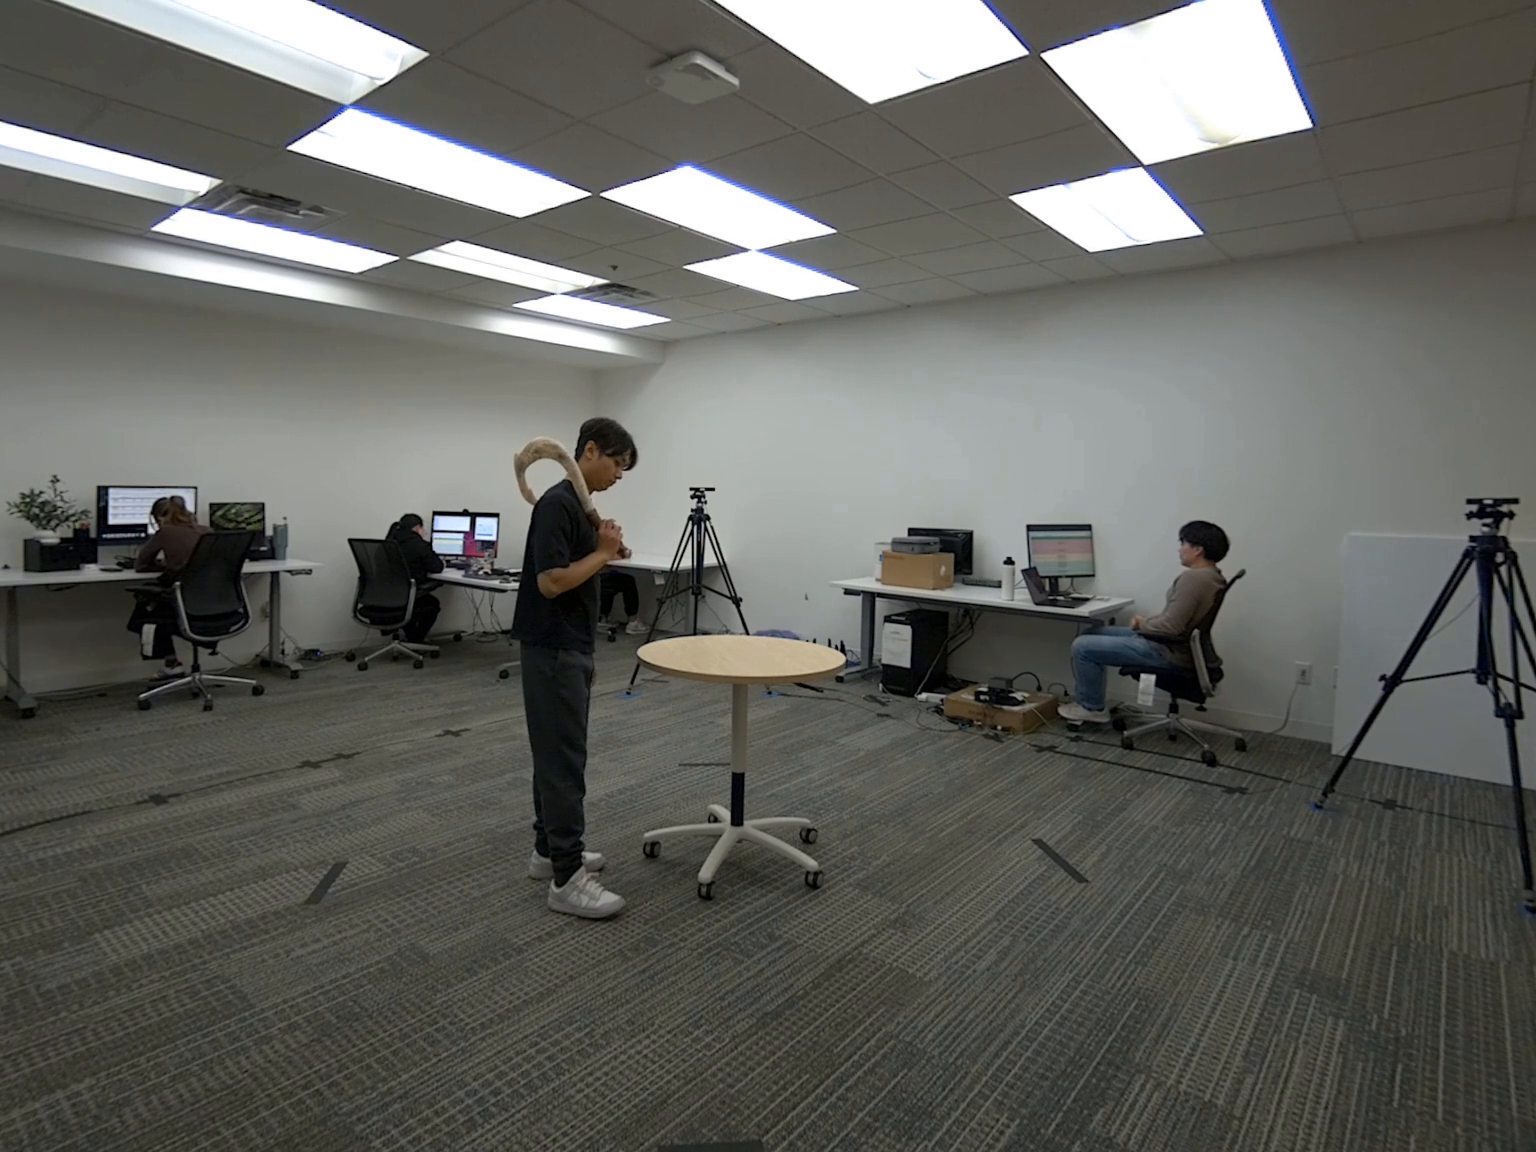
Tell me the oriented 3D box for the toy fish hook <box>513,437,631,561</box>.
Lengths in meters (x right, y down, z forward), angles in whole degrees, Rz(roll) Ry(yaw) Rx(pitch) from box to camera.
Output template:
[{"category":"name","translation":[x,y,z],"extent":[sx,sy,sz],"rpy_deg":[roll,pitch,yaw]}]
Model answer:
[{"category":"toy fish hook","translation":[-0.688,-0.243,2.904],"extent":[0.225,0.501,0.048],"rpy_deg":[-33,8,12]}]
